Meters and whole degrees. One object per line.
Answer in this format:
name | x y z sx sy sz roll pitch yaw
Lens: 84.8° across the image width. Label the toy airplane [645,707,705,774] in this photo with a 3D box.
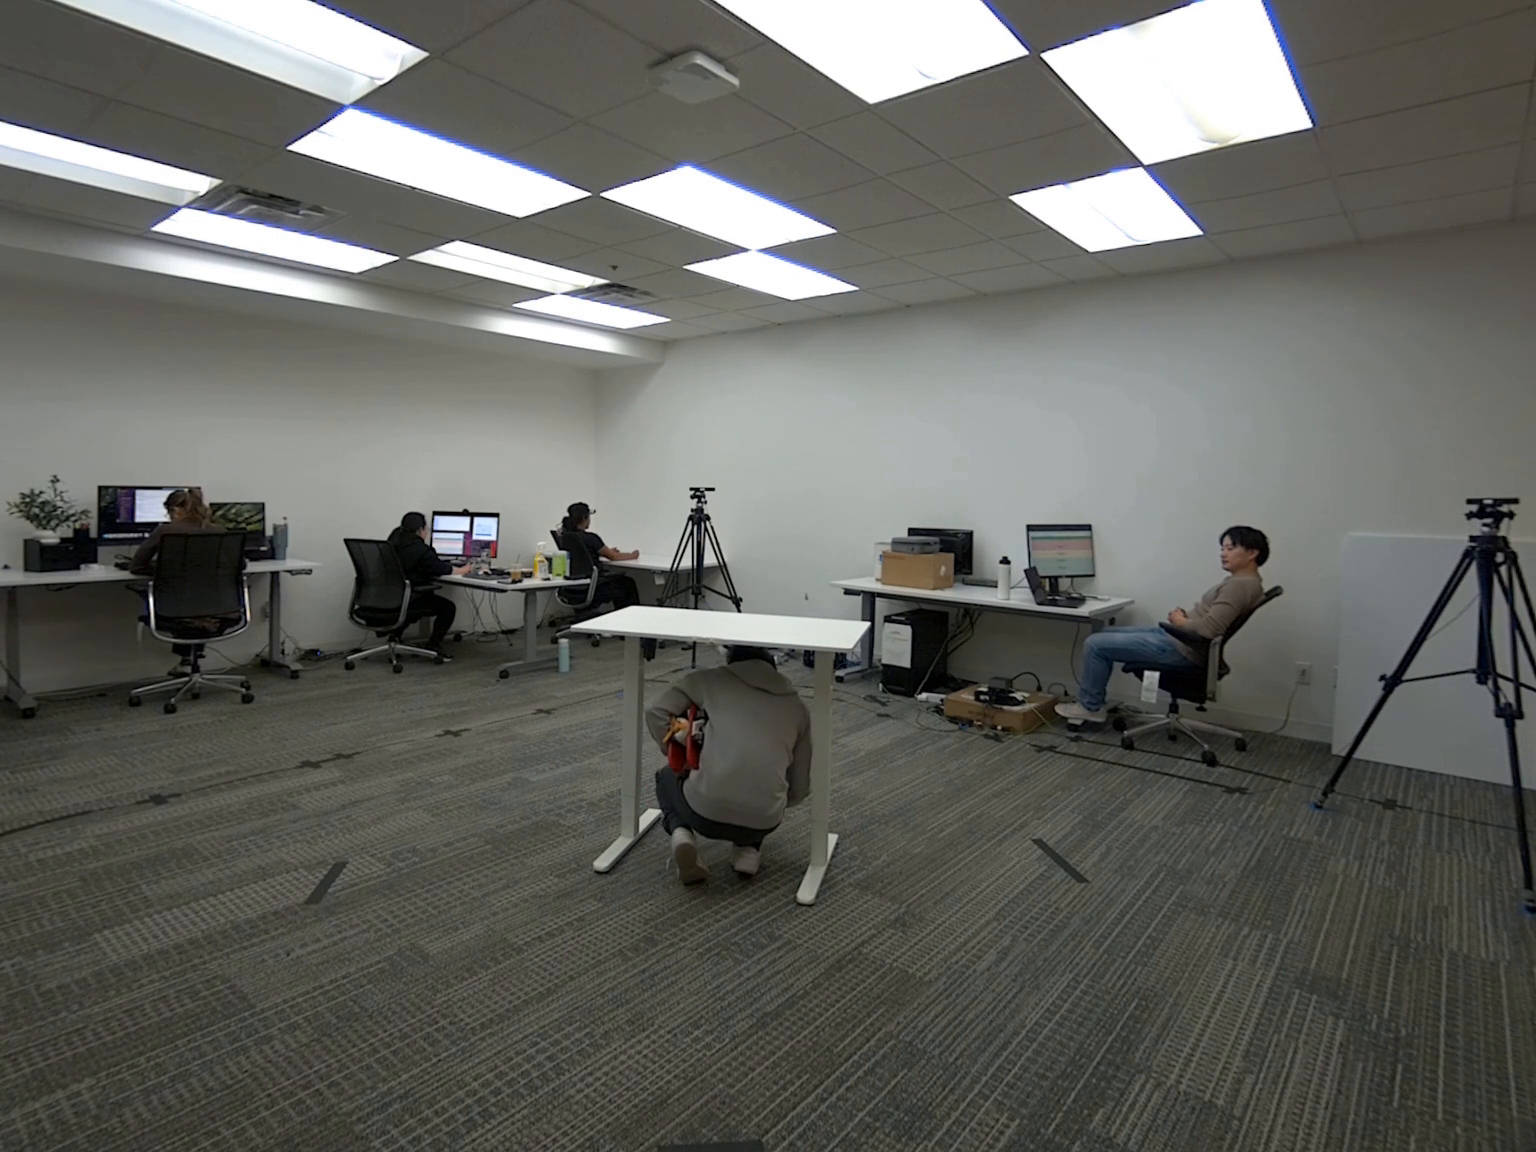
toy airplane | -0.245 0.596 3.016 0.159 0.247 0.260 -24 22 53
